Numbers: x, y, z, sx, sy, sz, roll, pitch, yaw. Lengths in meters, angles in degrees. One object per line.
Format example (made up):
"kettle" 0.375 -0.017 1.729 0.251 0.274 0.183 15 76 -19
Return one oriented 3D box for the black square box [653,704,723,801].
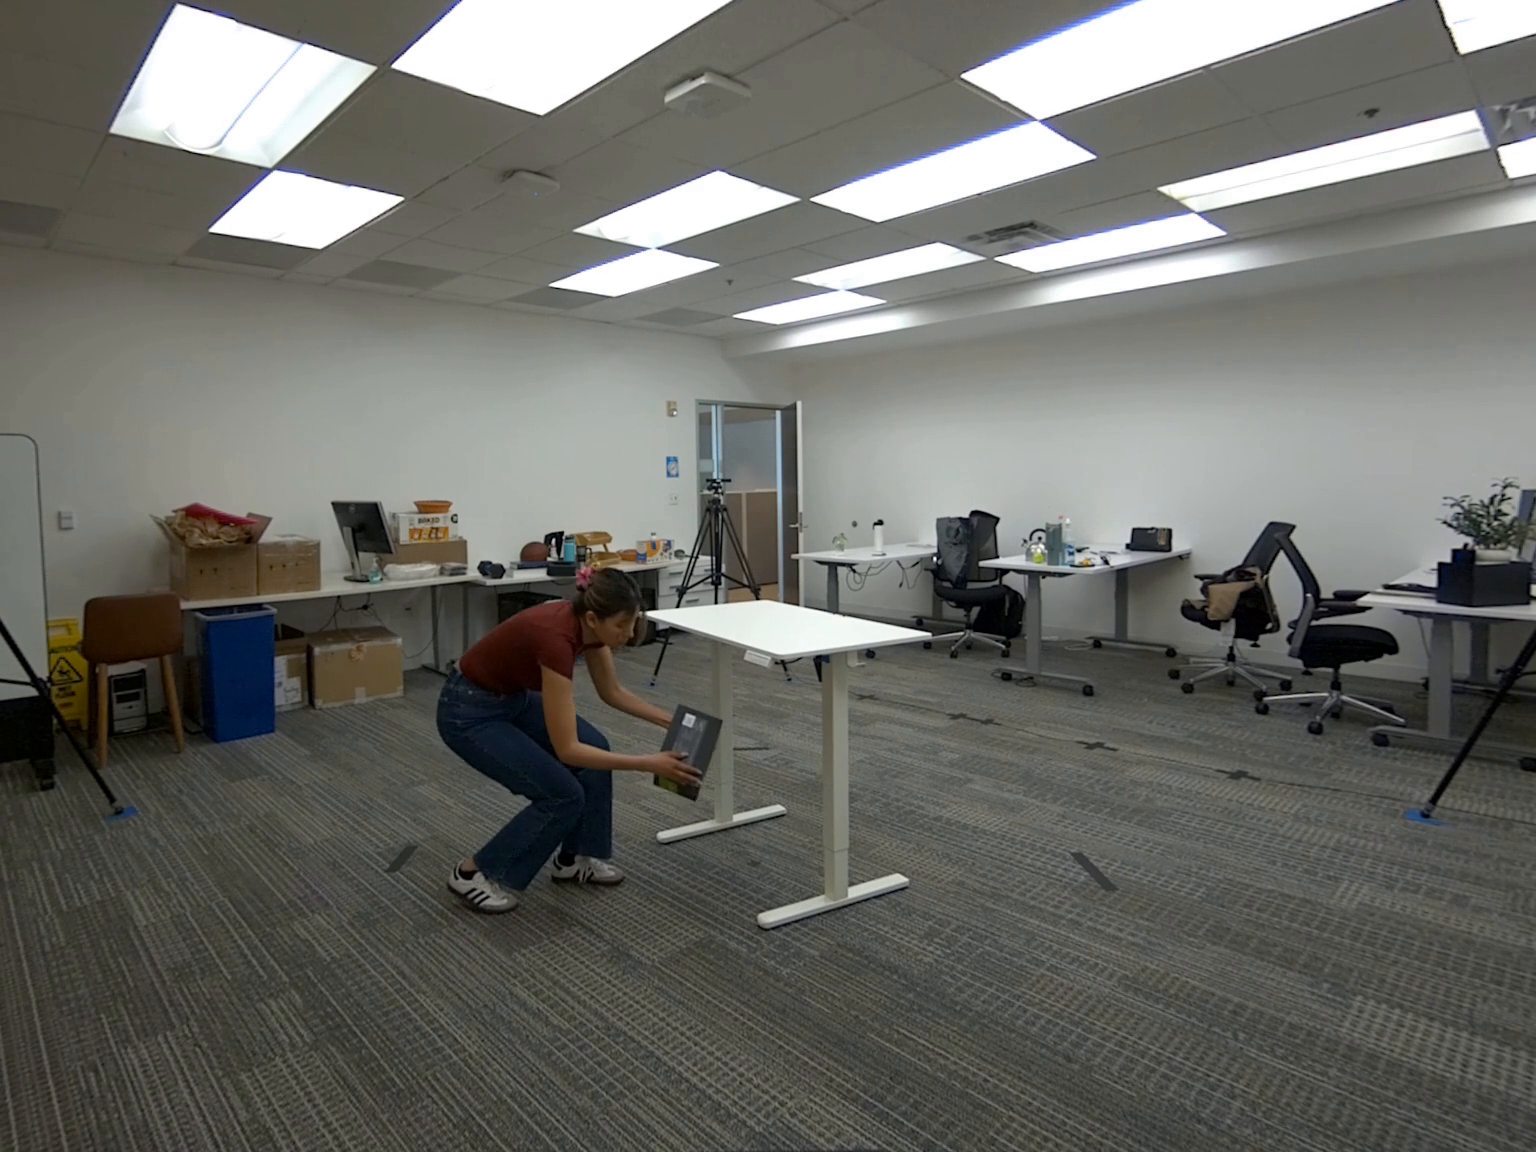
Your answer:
"black square box" -0.273 0.581 2.794 0.156 0.220 0.224 19 -32 0
